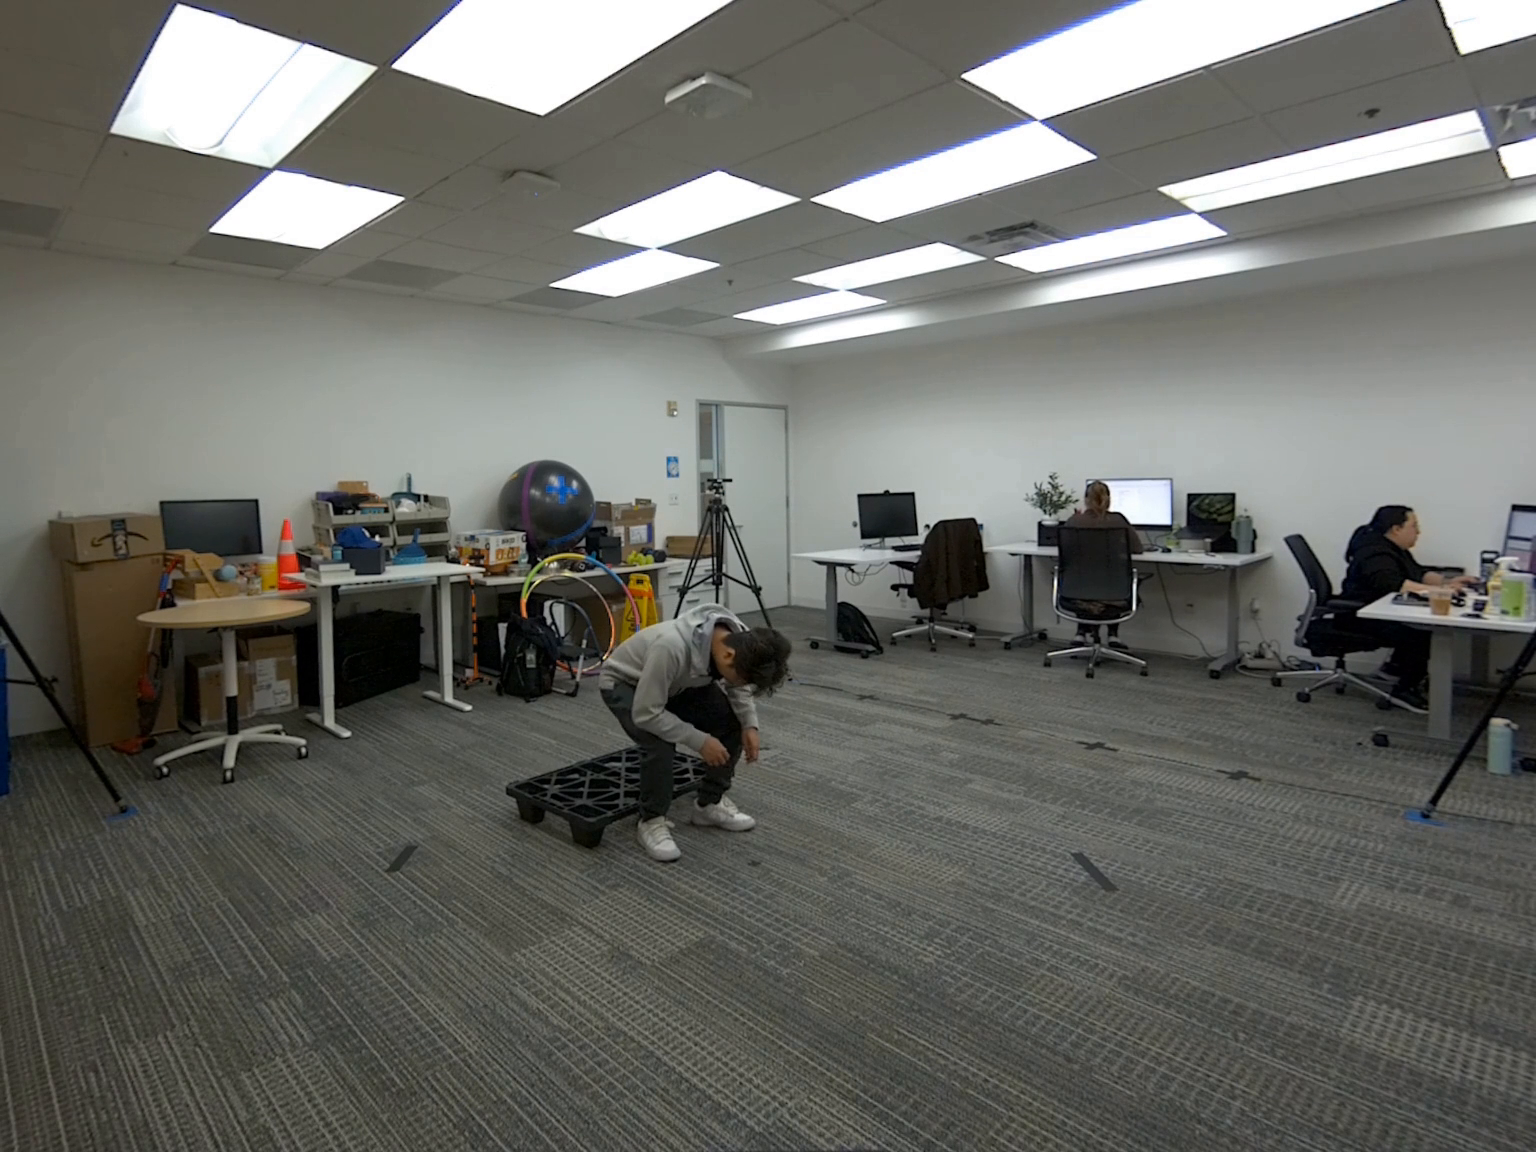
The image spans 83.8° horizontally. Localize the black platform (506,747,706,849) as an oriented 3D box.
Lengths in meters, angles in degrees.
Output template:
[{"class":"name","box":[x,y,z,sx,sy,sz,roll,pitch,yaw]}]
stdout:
[{"class":"black platform","box":[-0.614,0.925,3.672,0.624,0.142,0.785,5,9,42]}]
